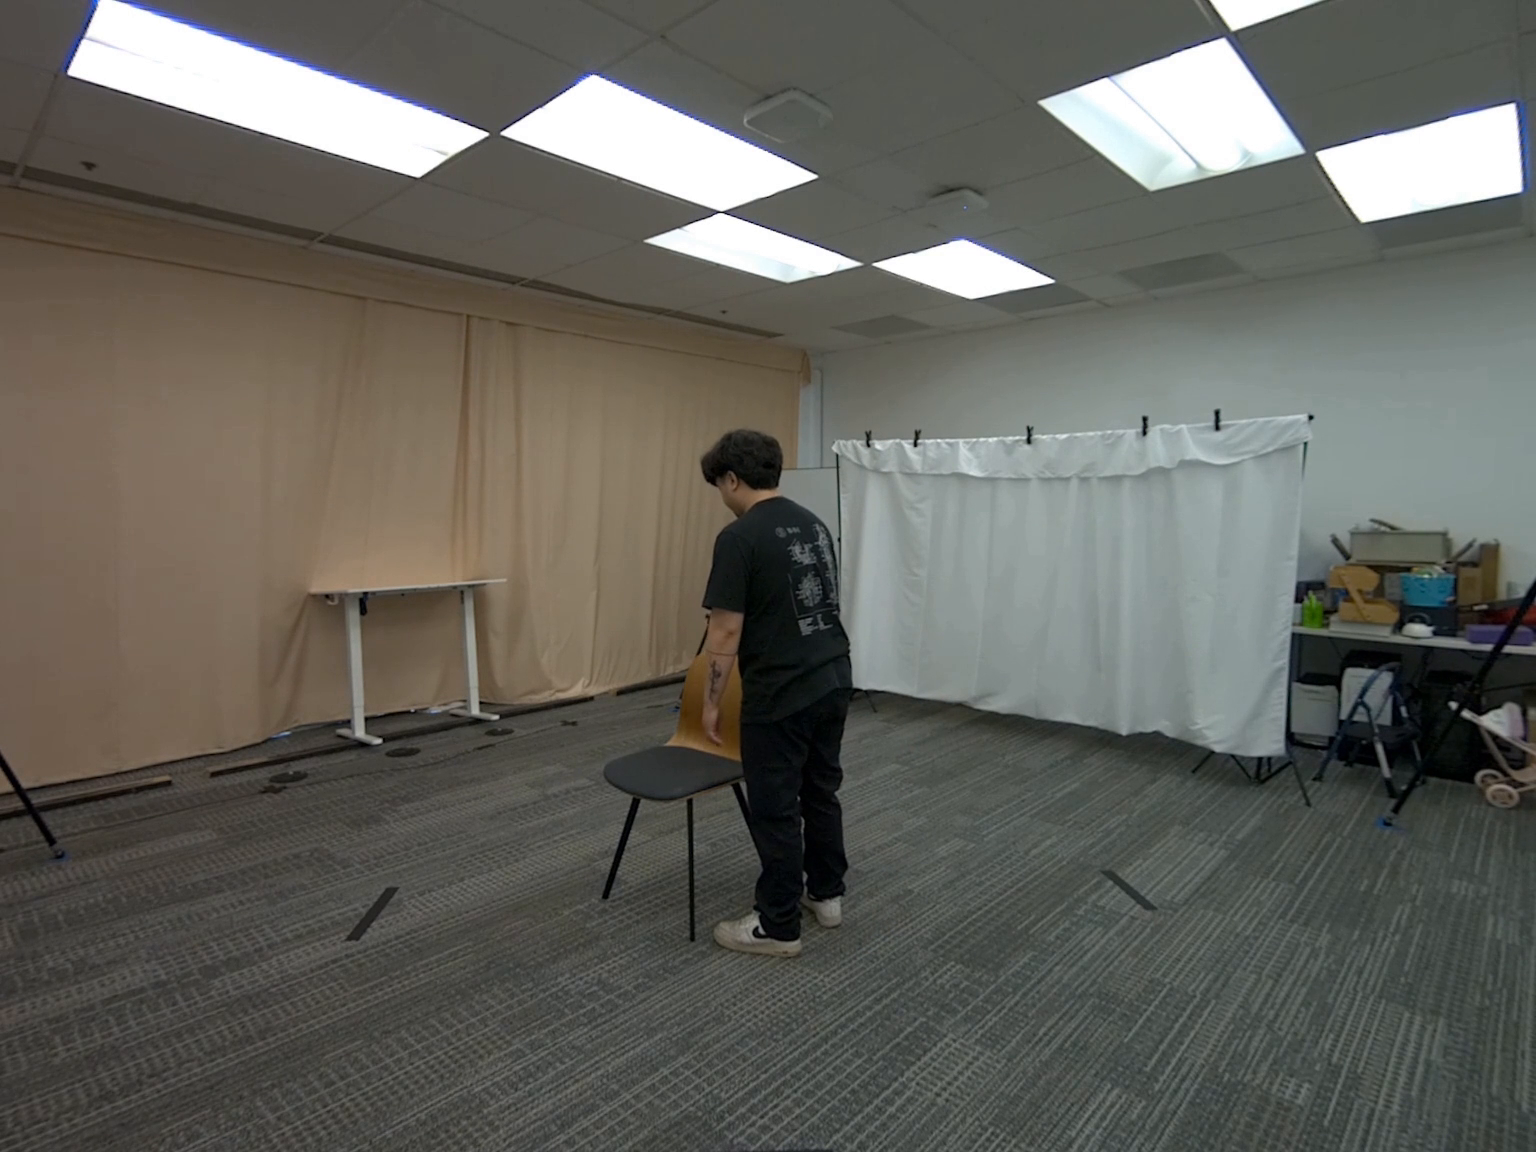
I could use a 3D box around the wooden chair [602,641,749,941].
[{"bbox_3d":[-0.277,0.718,2.973,0.494,0.877,0.506,3,0,41],"label":"wooden chair"}]
